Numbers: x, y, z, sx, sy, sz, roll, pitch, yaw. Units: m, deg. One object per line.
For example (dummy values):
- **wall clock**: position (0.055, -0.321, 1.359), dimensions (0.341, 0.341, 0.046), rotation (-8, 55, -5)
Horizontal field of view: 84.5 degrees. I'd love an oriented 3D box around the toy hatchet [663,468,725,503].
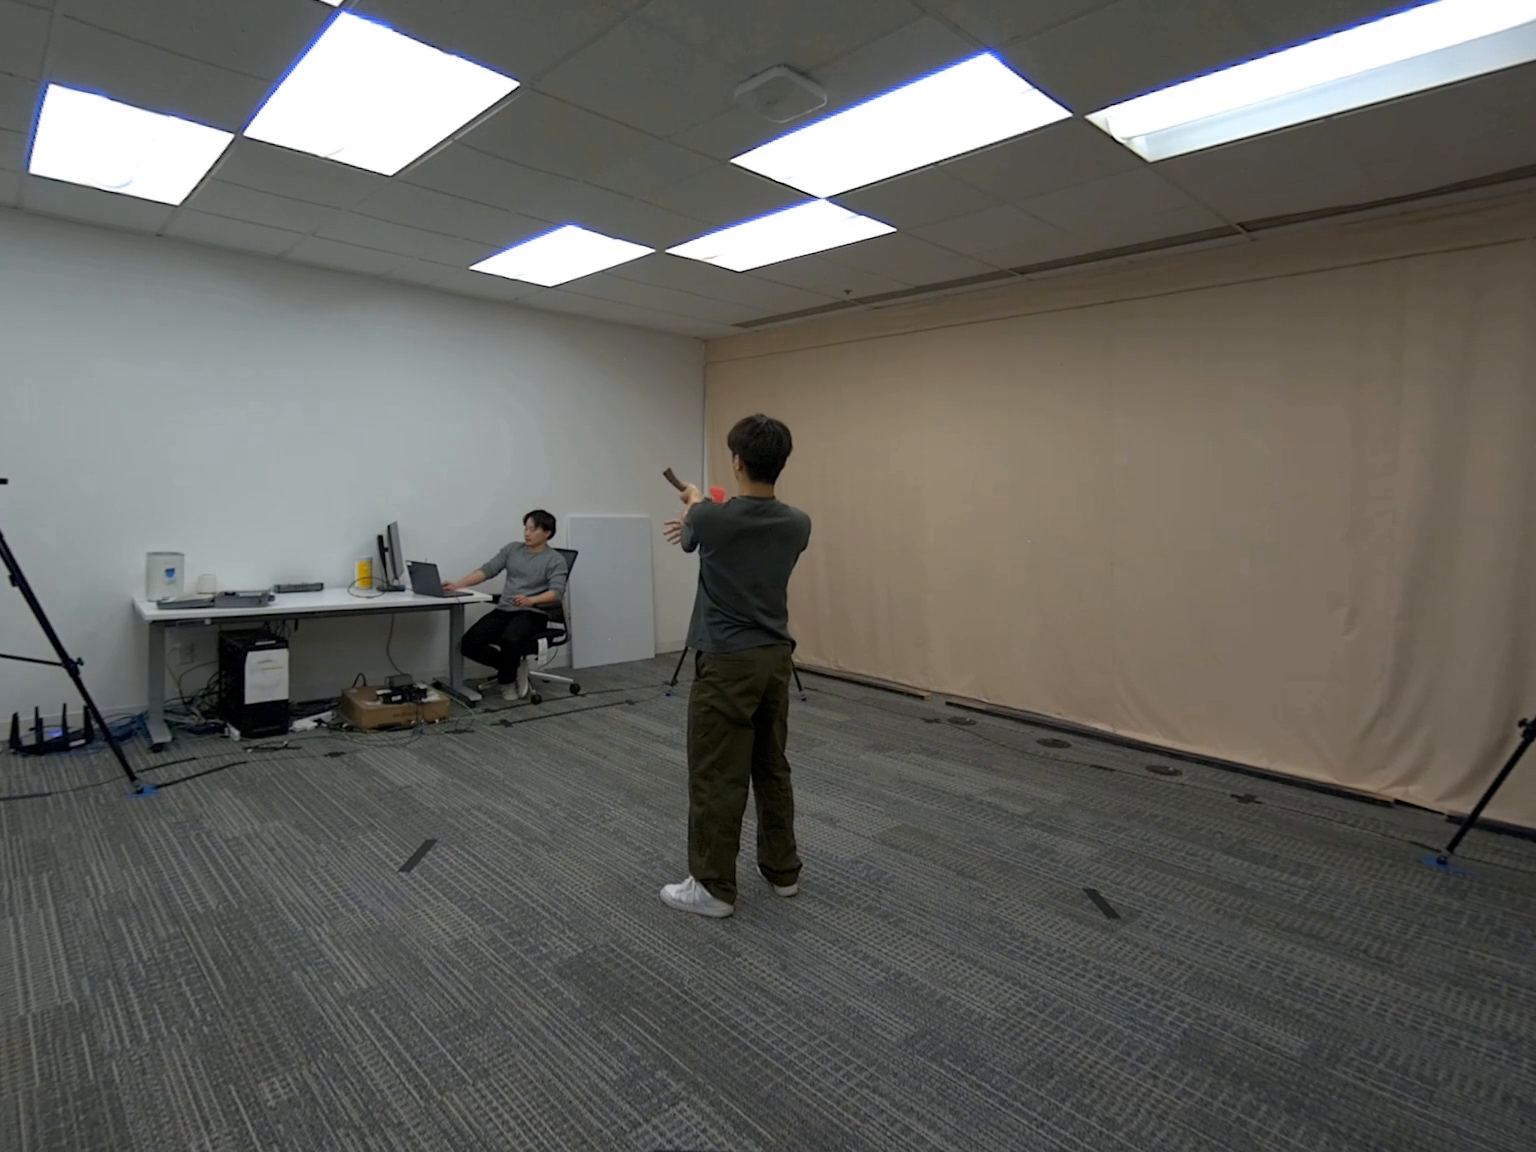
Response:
- **toy hatchet**: position (-0.291, -0.354, 3.317), dimensions (0.269, 0.131, 0.030), rotation (45, 1, -3)
